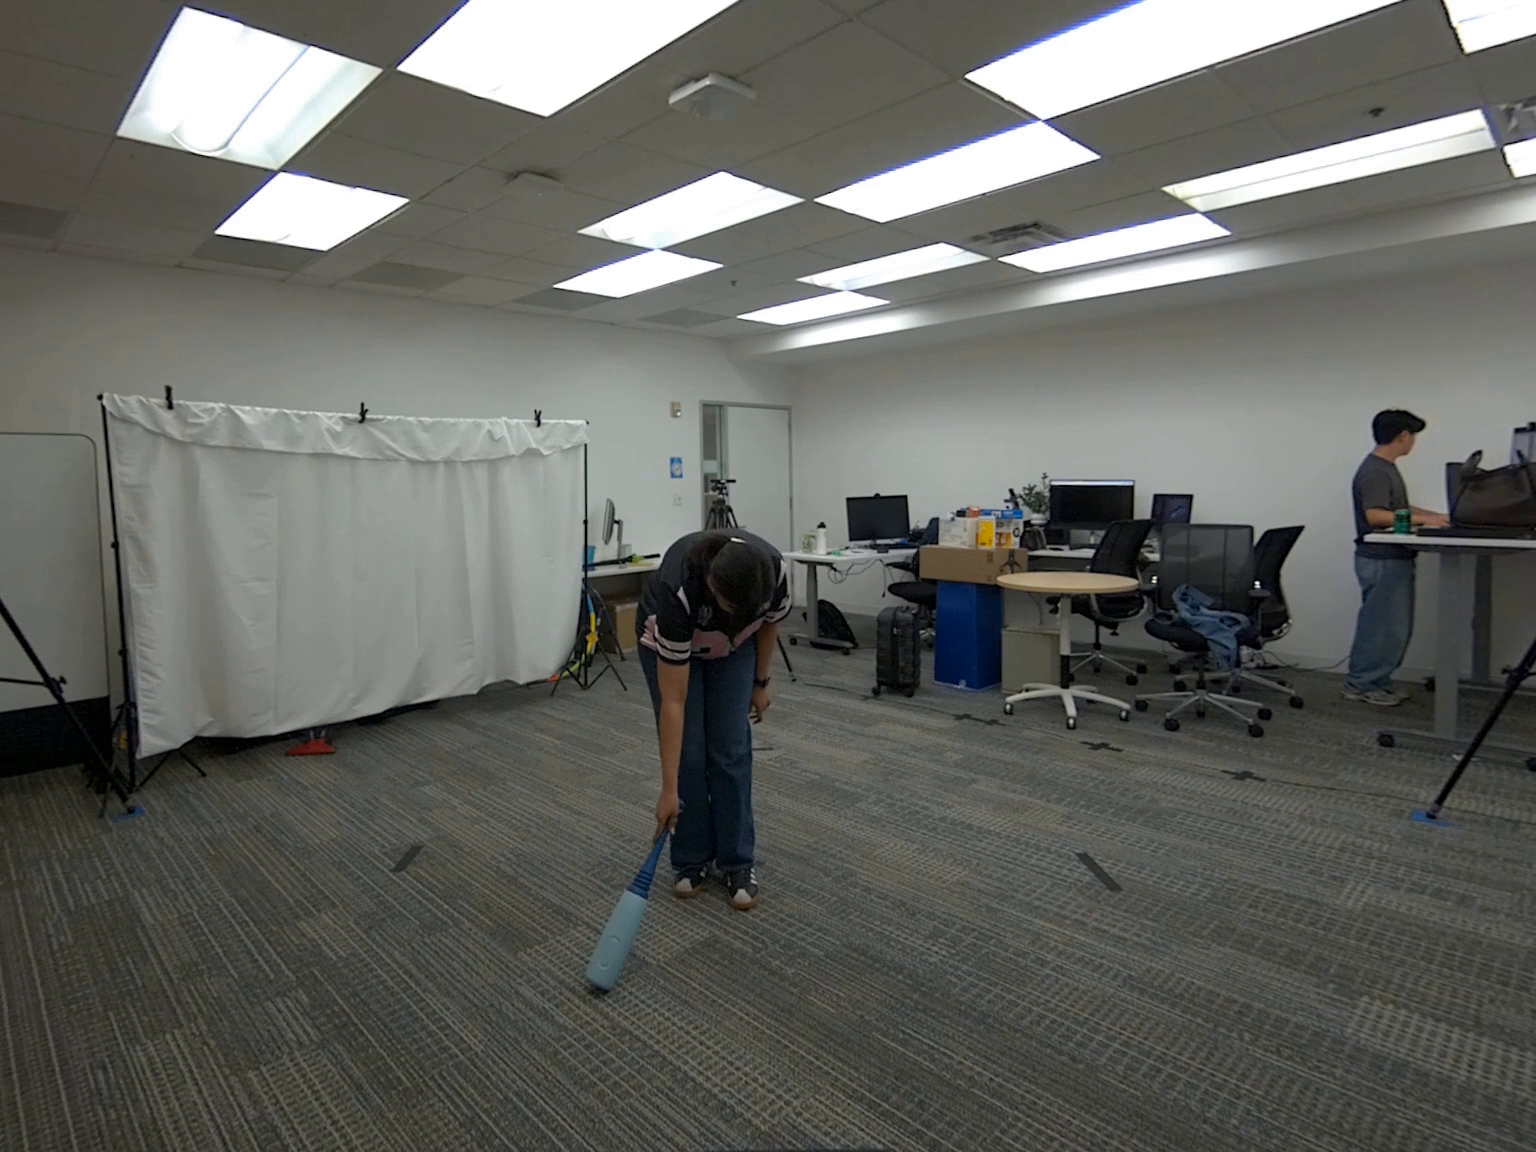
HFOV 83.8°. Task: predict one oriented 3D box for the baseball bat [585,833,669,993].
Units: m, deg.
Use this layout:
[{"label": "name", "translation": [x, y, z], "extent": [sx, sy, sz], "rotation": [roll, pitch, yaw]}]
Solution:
[{"label": "baseball bat", "translation": [-0.368, 0.910, 2.466], "extent": [0.090, 0.549, 0.087], "rotation": [19, -28, 9]}]
